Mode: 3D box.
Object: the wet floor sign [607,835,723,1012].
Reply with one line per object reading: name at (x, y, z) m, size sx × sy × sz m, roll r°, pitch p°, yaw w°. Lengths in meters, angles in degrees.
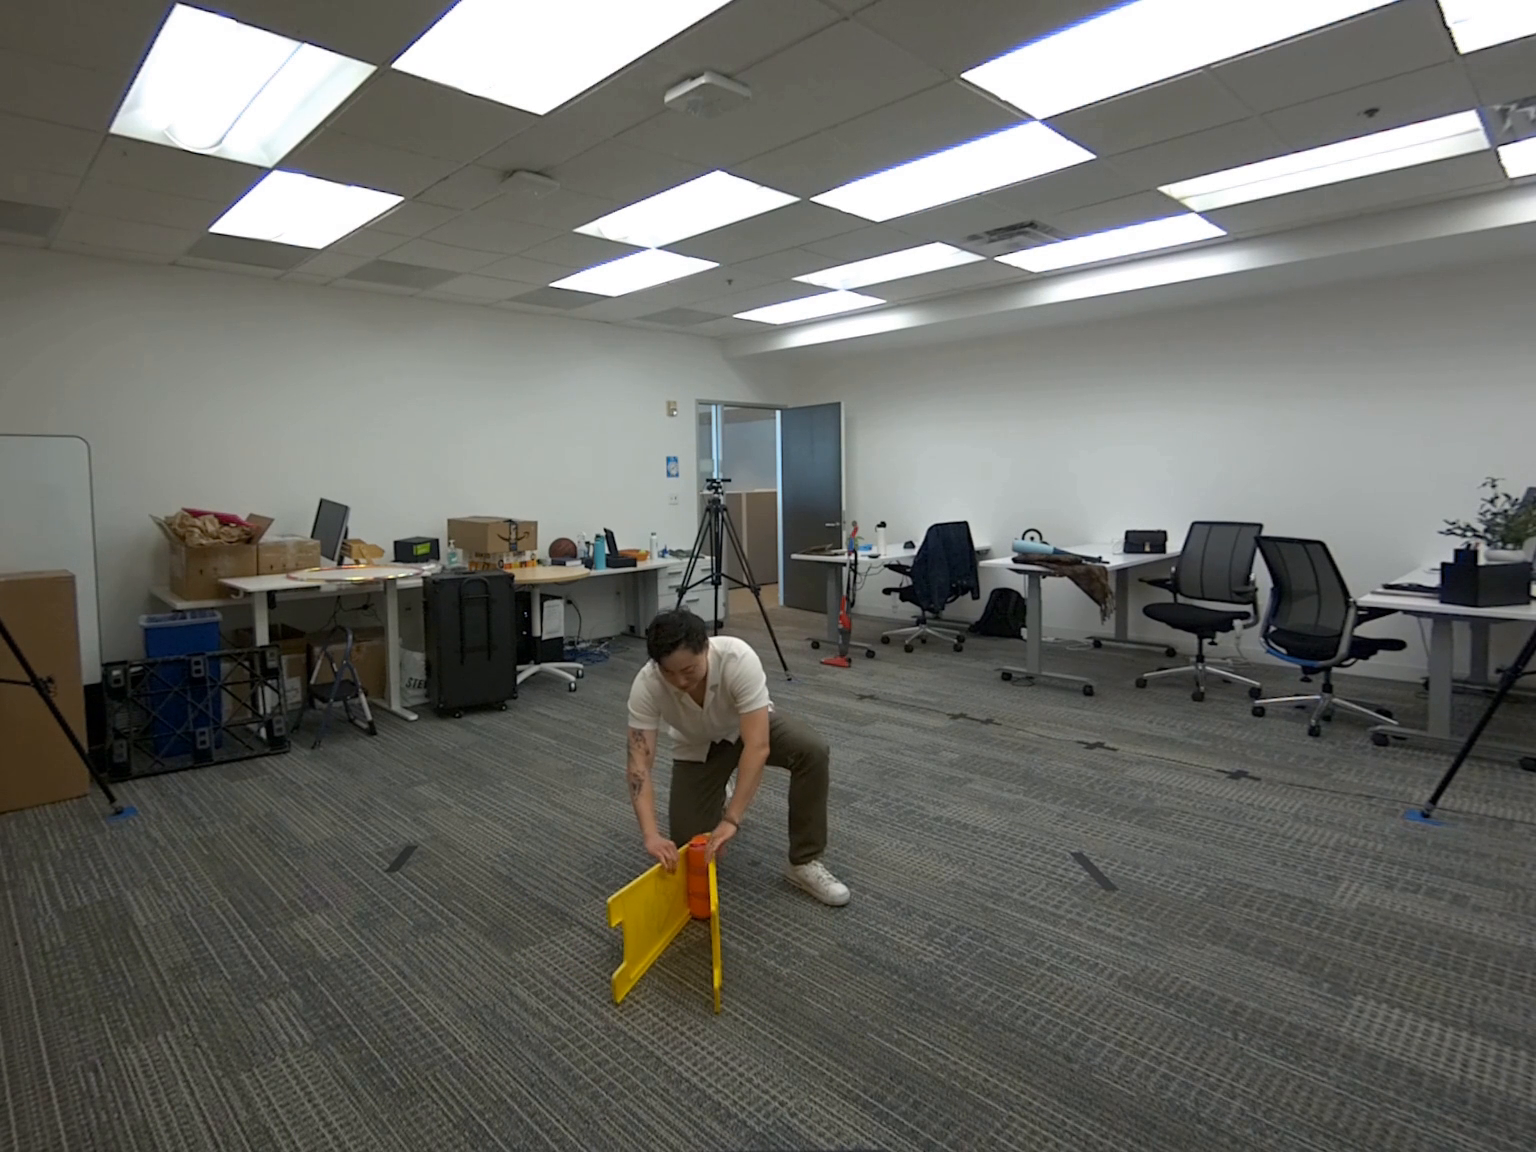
wet floor sign at (-0.237, 0.988, 2.573) m, size 0.292 × 0.282 × 0.642 m, roll -1°, pitch 3°, yaw 7°
